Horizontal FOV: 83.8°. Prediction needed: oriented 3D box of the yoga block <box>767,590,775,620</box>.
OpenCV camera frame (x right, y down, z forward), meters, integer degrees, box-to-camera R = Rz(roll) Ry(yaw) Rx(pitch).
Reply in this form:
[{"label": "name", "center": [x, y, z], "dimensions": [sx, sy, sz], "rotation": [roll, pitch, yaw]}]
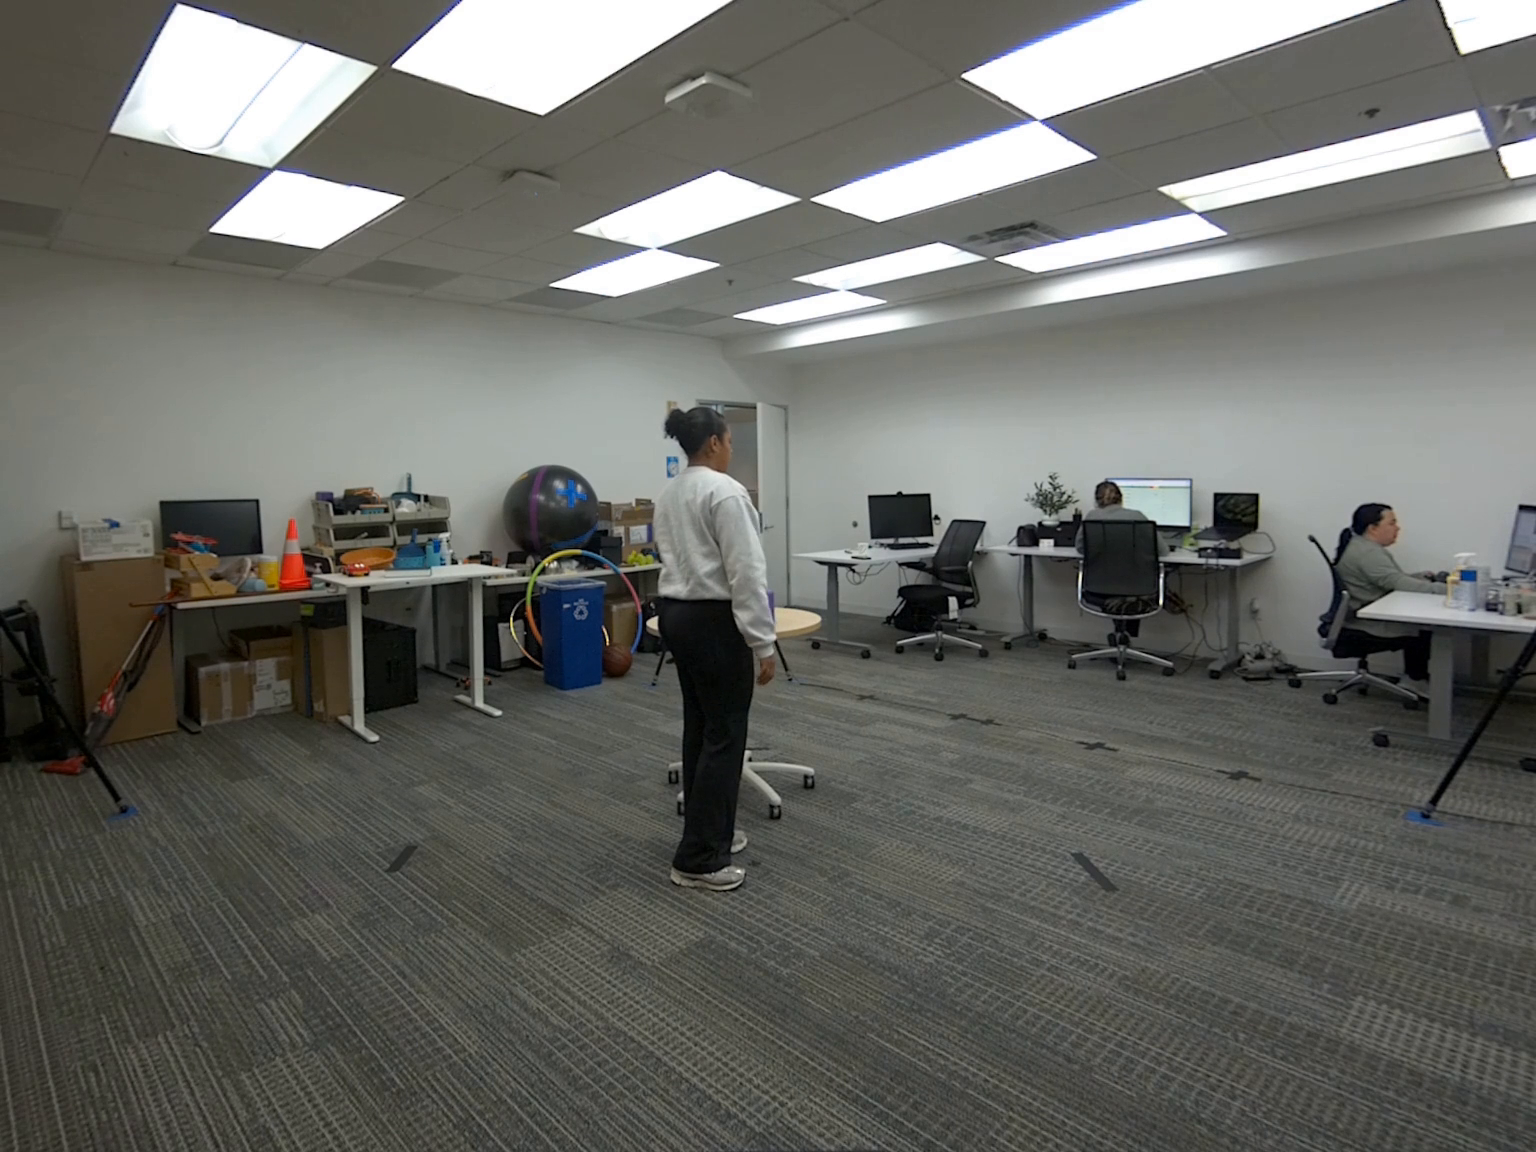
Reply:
[{"label": "yoga block", "center": [-0.037, 0.130, 3.619], "dimensions": [0.075, 0.148, 0.233], "rotation": [-2, 5, -14]}]
